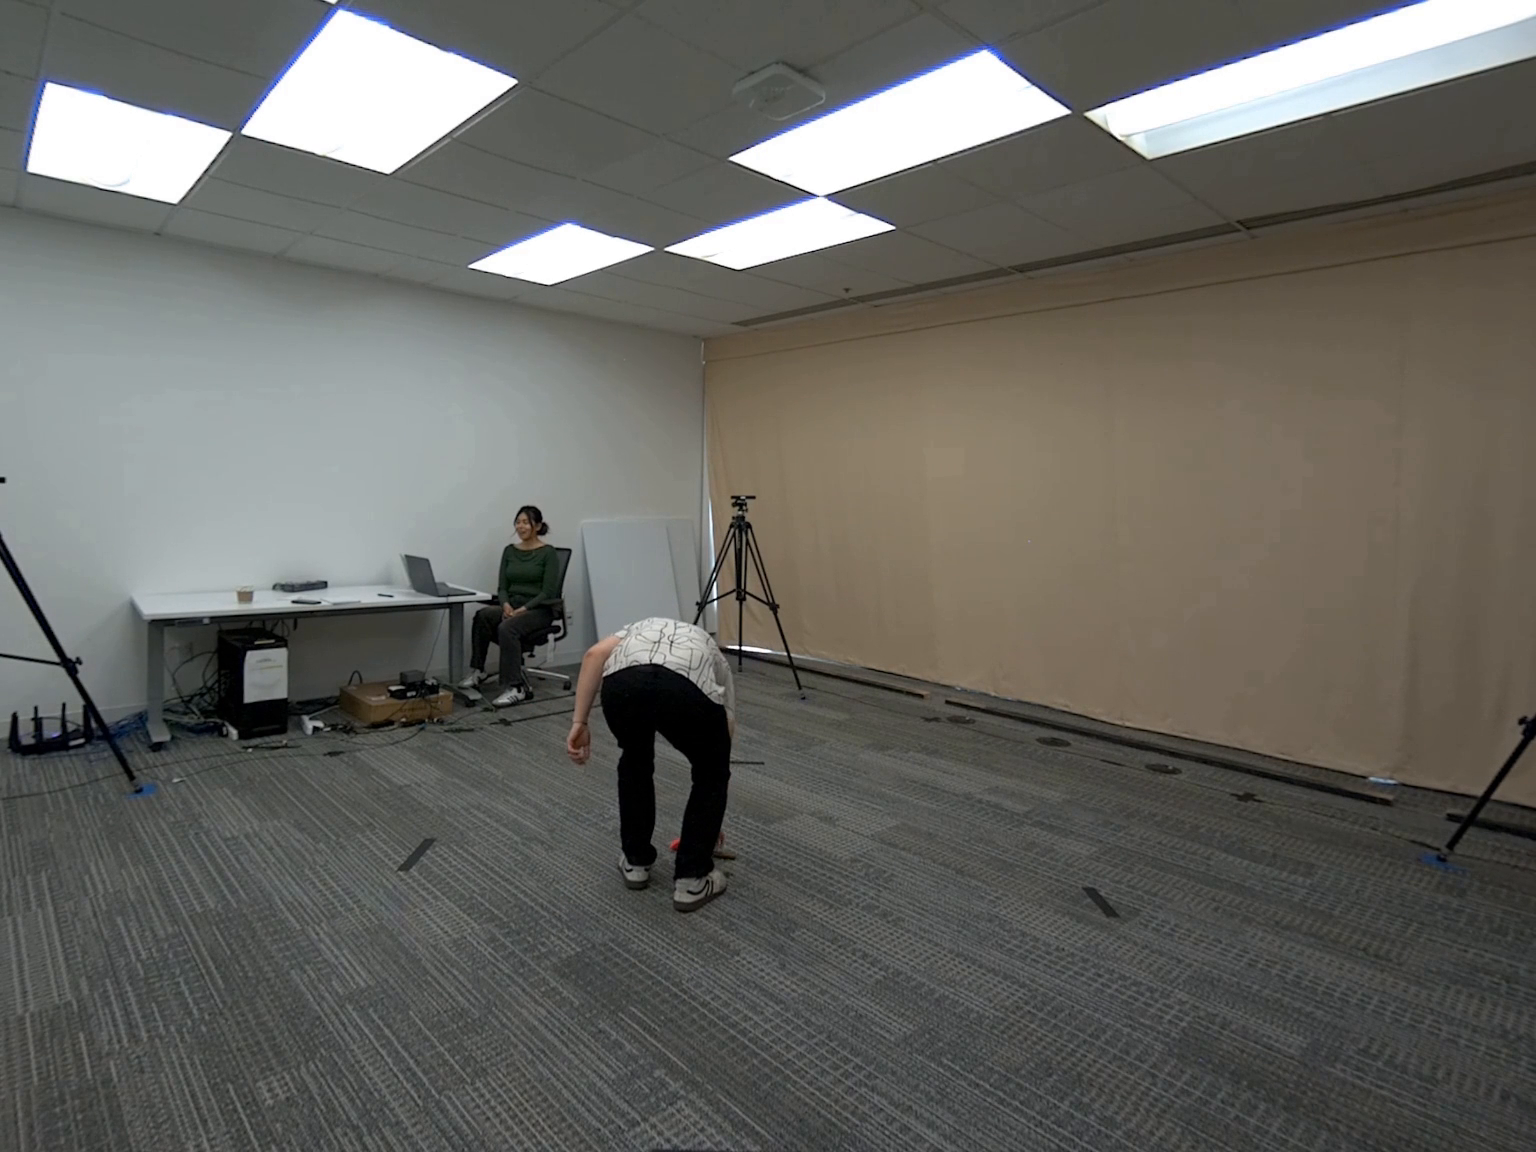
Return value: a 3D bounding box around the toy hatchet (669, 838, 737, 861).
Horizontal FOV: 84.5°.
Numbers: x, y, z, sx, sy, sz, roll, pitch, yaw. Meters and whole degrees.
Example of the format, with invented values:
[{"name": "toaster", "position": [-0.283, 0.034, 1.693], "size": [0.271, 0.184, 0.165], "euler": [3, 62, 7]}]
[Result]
[{"name": "toy hatchet", "position": [-0.252, 1.070, 3.309], "size": [0.273, 0.029, 0.130], "euler": [6, 1, 11]}]
